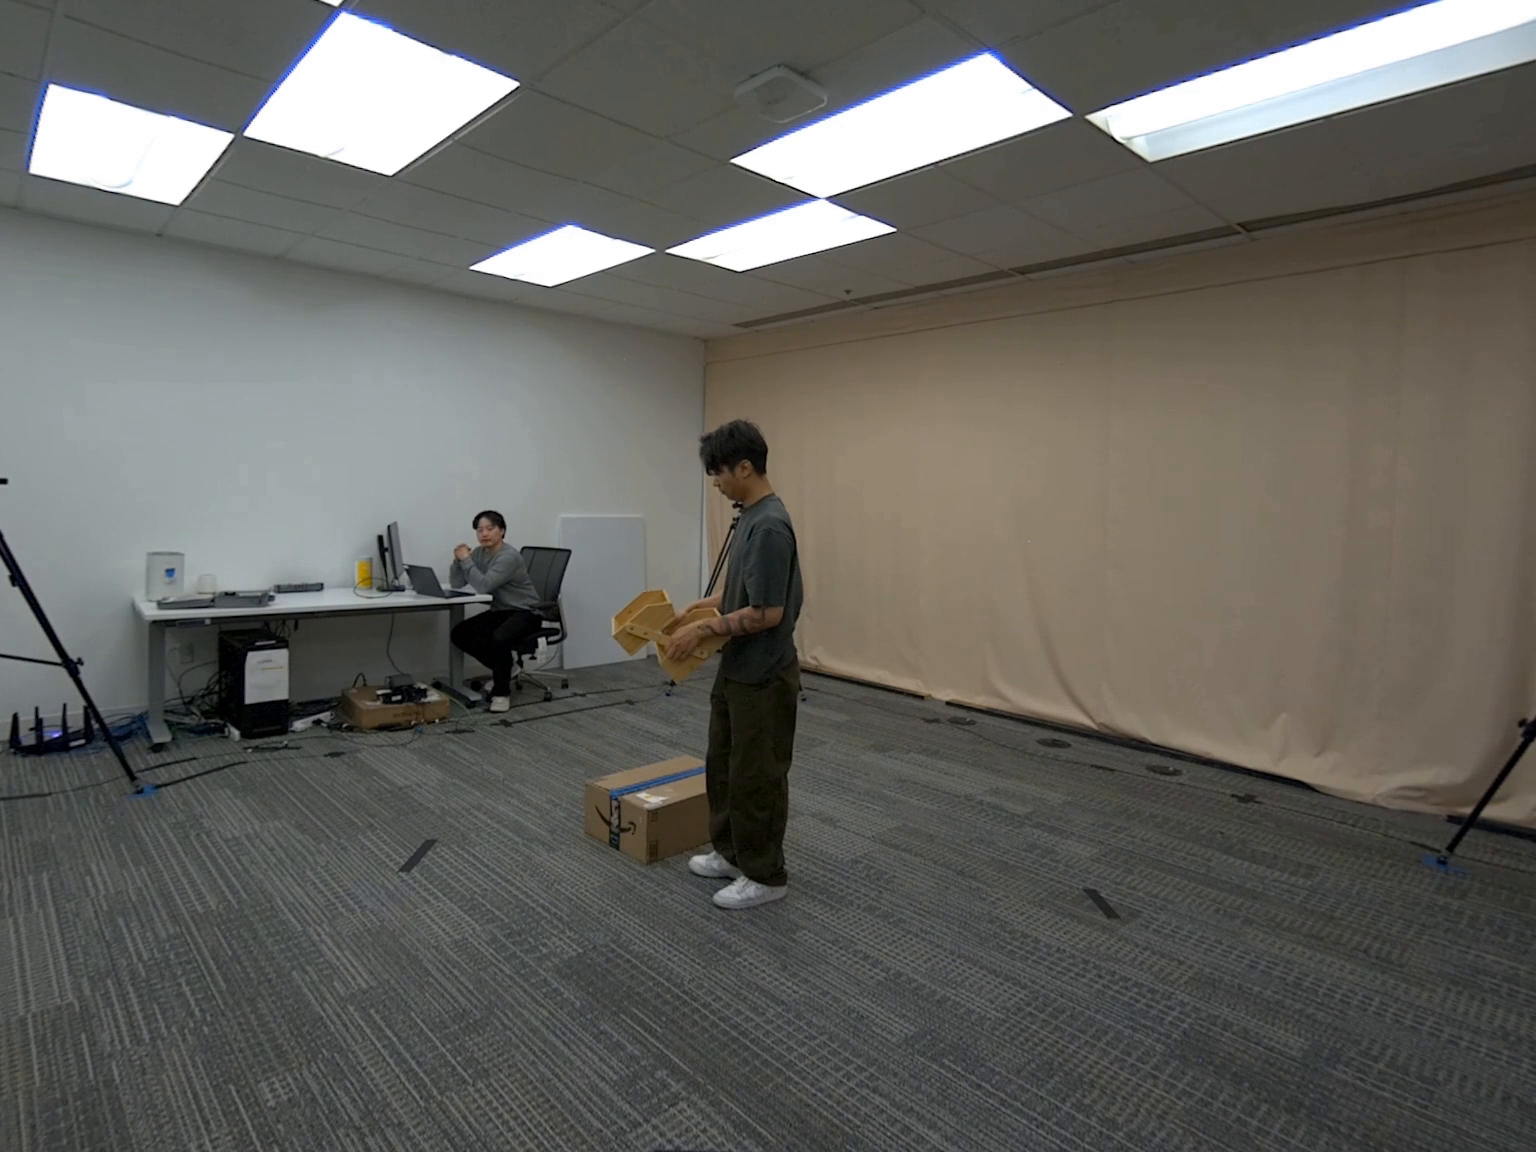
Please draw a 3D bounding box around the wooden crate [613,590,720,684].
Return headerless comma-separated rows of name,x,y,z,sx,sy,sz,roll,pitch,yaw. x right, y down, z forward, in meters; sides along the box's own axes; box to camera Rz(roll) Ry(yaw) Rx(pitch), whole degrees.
wooden crate,-0.334,0.162,2.835,0.302,0.270,0.328,-41,11,-3
